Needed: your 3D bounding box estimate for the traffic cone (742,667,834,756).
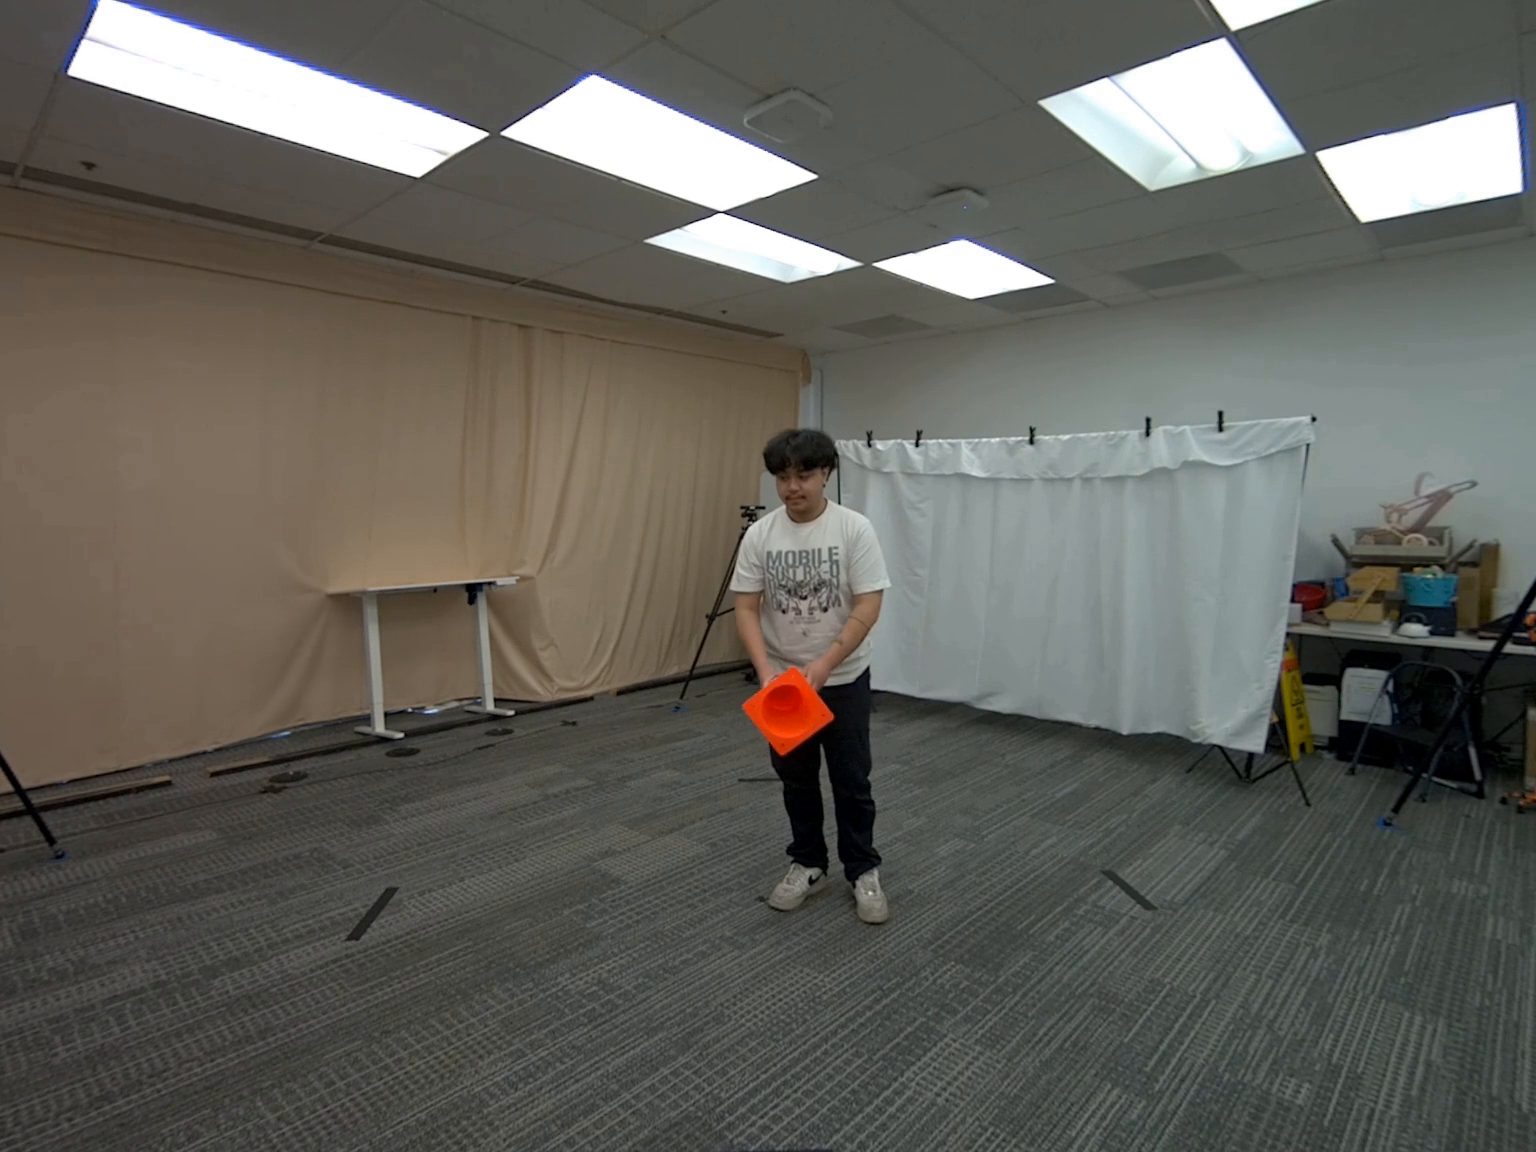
[{"bbox_3d":[0.051,0.379,2.651,0.205,0.203,0.385,-39,4,0],"label":"traffic cone"}]
